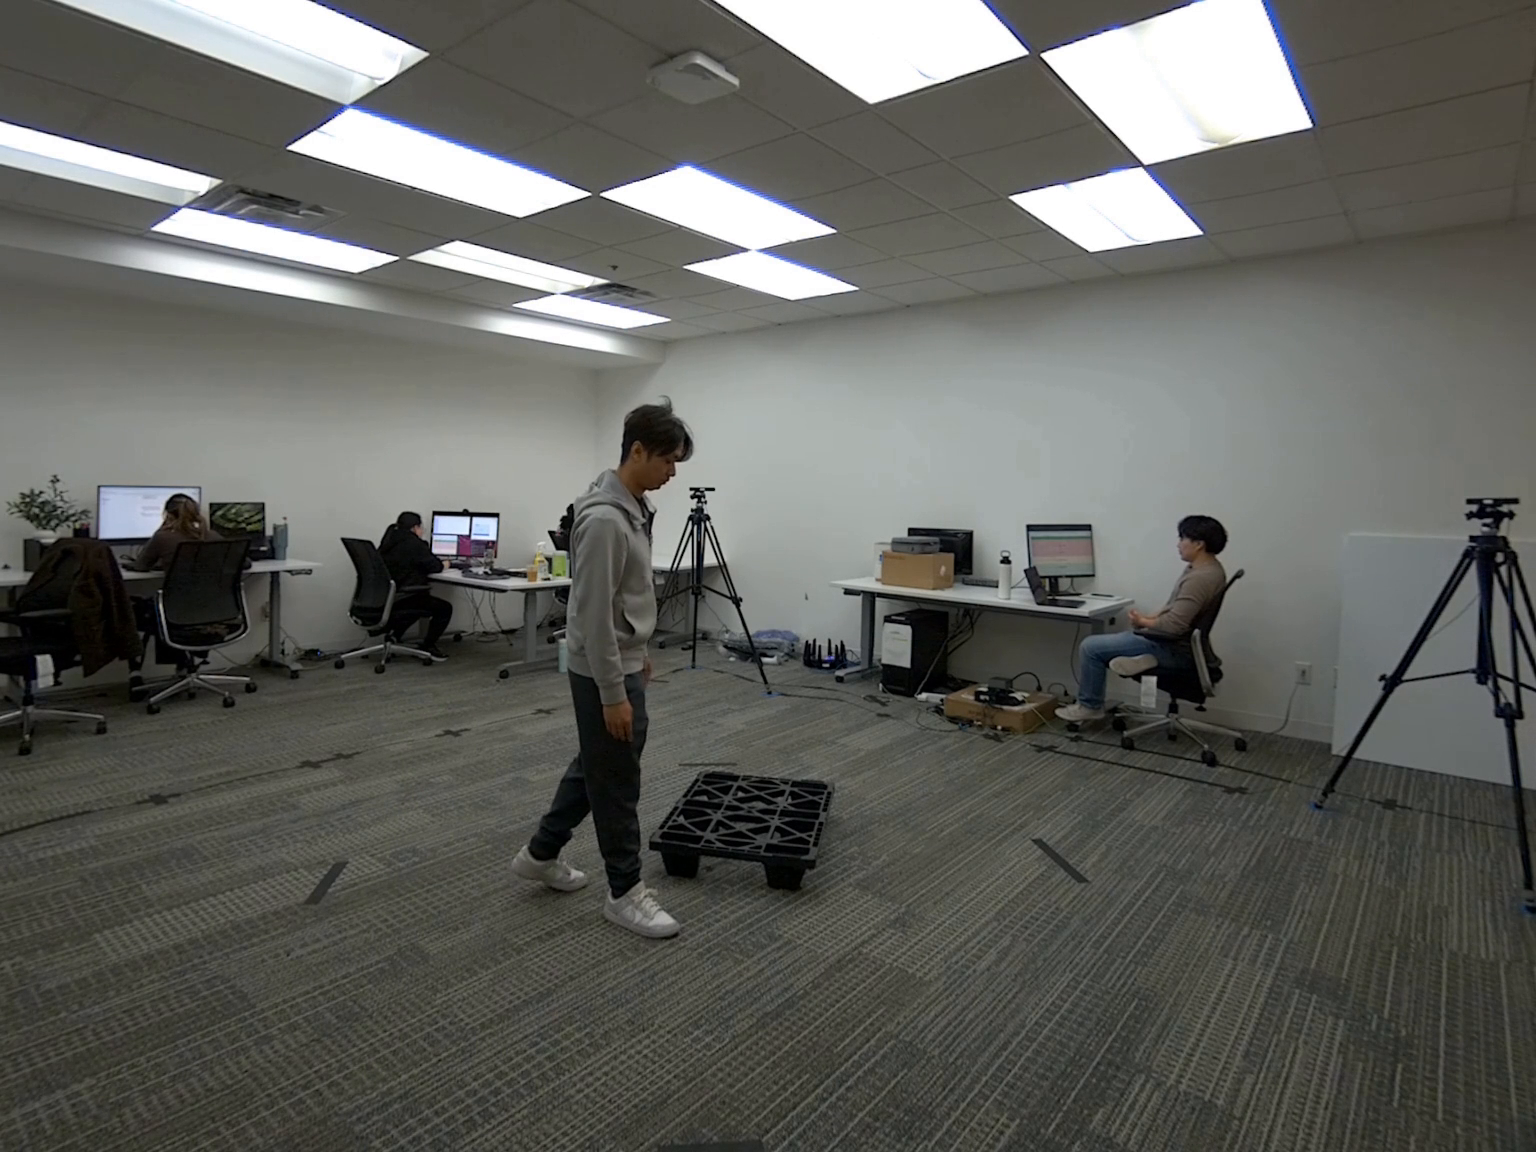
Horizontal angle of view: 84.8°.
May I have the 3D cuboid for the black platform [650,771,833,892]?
[{"bbox_3d":[-0.081,0.978,3.348,0.613,0.143,0.799,2,5,10],"label":"black platform"}]
